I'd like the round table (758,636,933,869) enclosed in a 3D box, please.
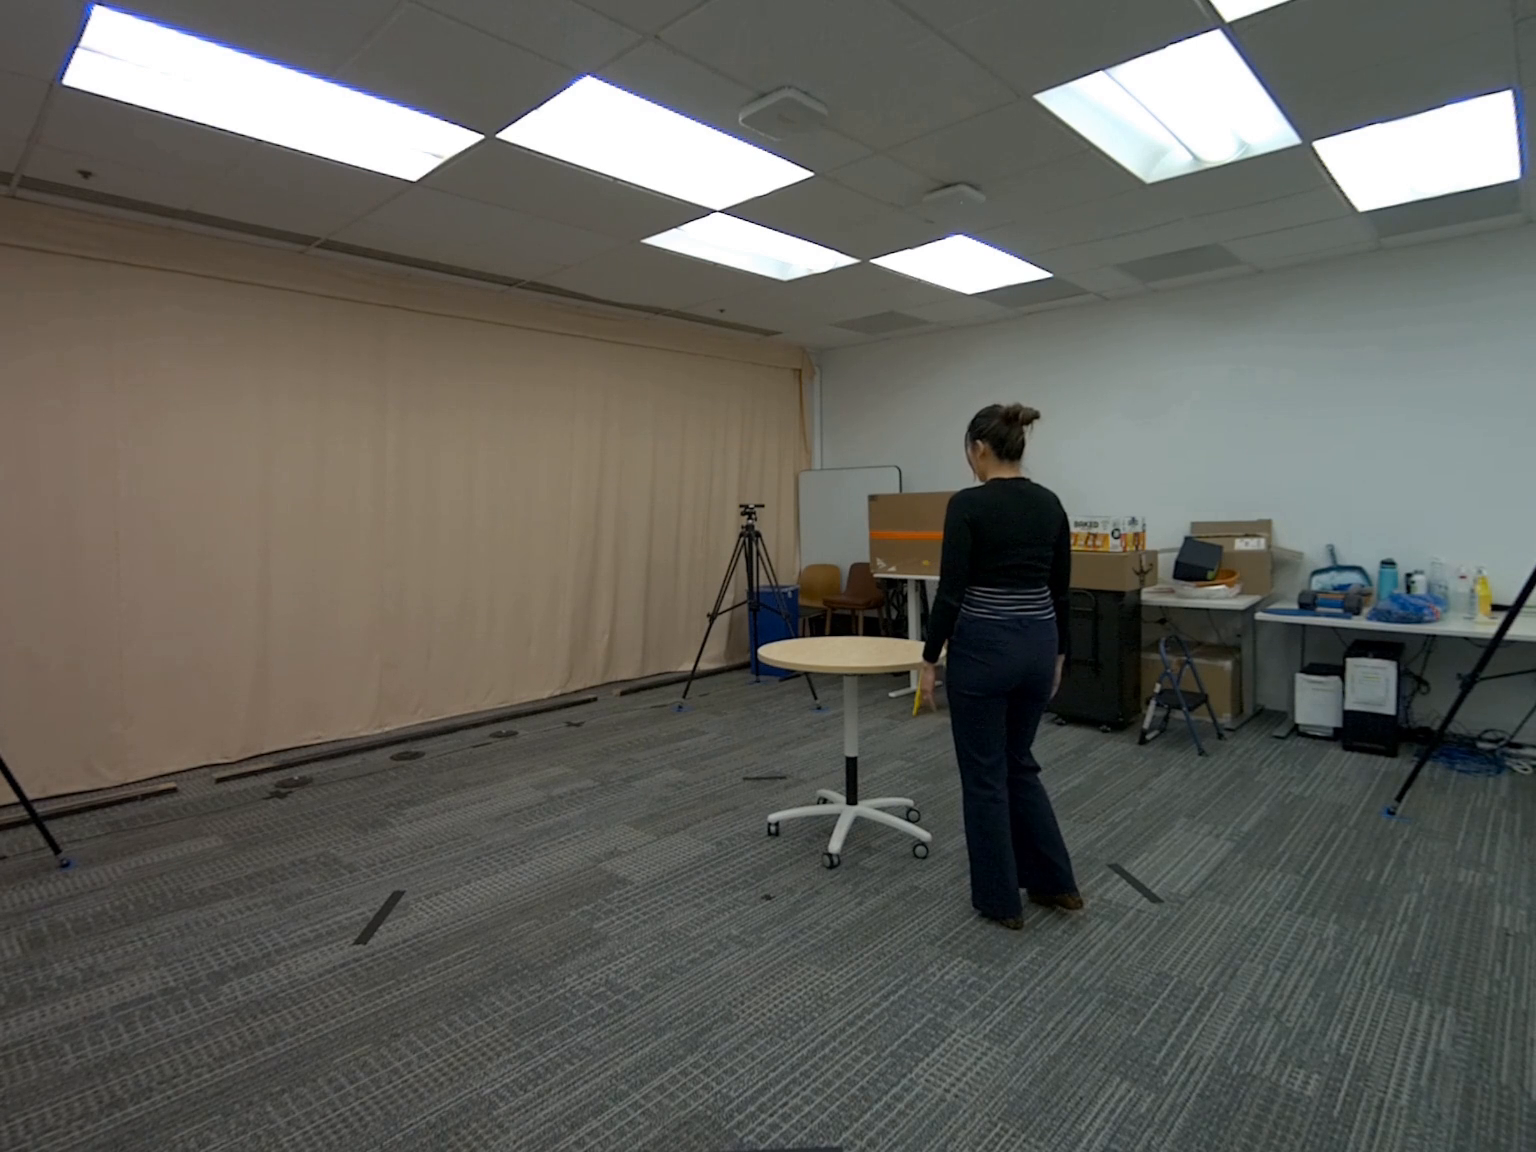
[{"bbox_3d":[0.349,0.700,3.490,0.763,0.792,0.766,-1,3,-2],"label":"round table"}]
